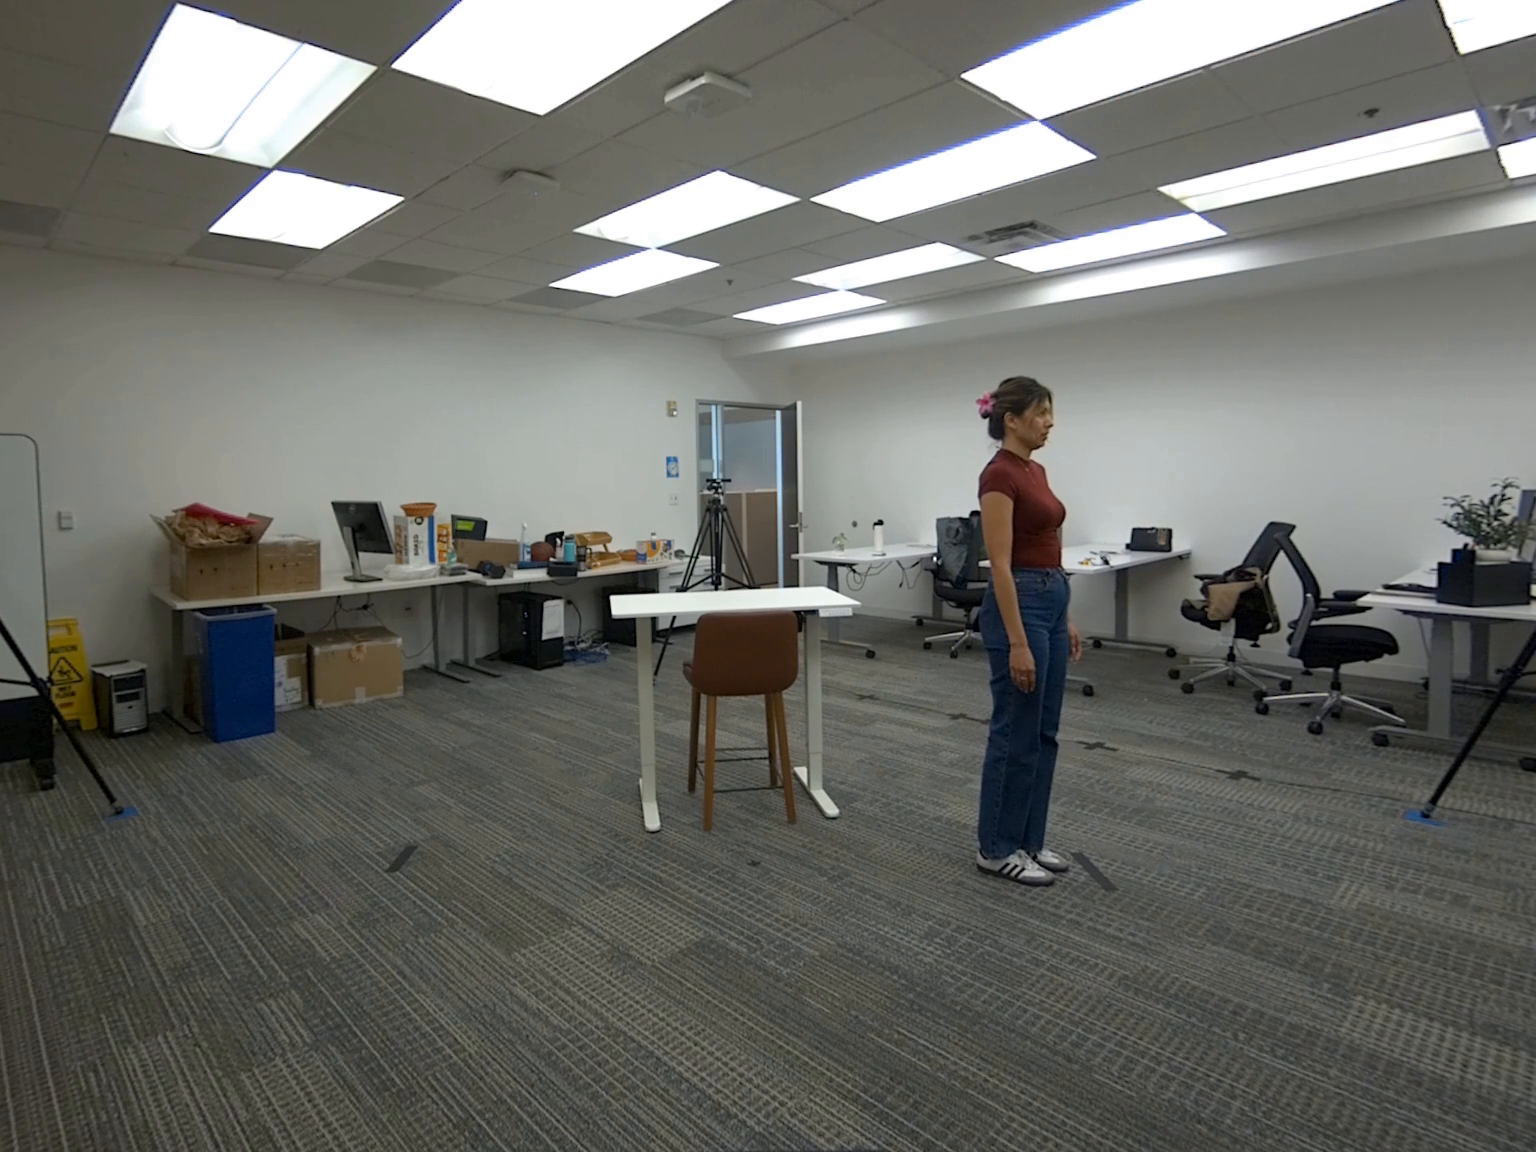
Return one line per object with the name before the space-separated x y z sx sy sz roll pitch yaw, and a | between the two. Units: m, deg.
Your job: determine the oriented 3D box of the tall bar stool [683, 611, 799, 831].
tall bar stool | -0.114 0.562 3.616 0.453 0.886 0.473 0 5 -9
